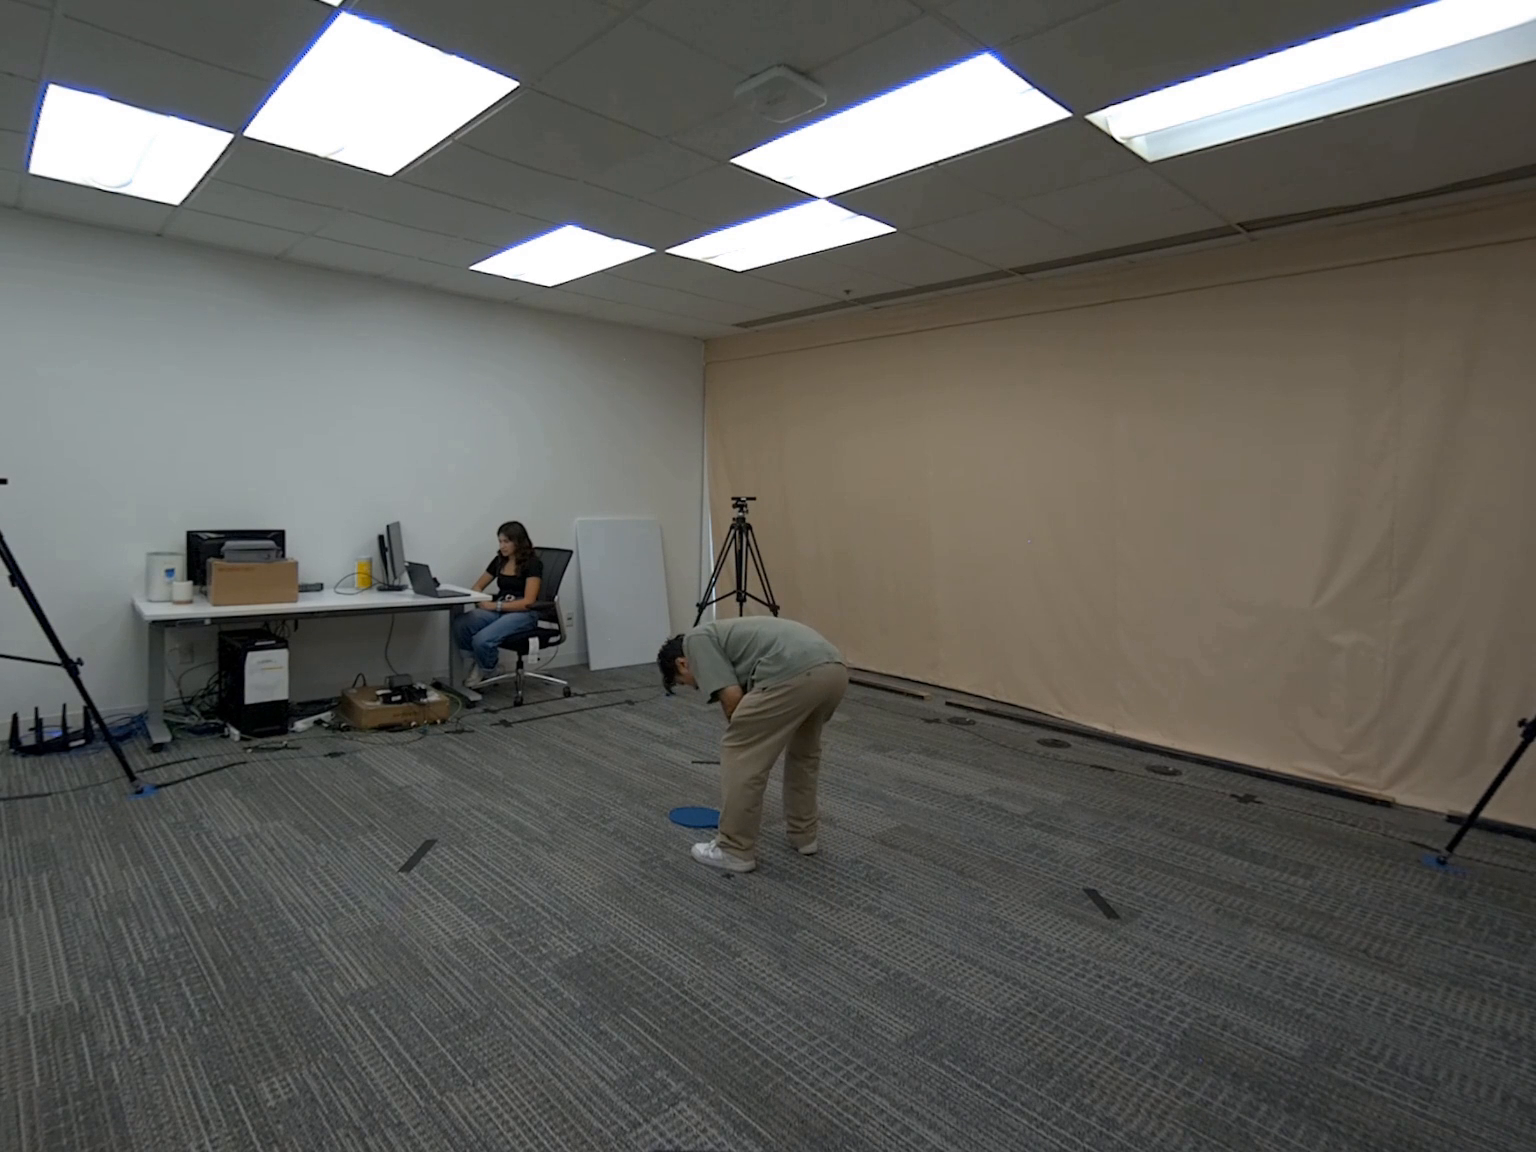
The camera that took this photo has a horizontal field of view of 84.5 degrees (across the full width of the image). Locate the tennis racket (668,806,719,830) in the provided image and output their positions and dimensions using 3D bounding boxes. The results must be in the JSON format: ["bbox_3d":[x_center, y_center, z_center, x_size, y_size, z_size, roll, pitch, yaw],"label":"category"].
[{"bbox_3d":[-0.252,1.046,3.607,0.443,0.031,0.209,4,6,35],"label":"tennis racket"}]
